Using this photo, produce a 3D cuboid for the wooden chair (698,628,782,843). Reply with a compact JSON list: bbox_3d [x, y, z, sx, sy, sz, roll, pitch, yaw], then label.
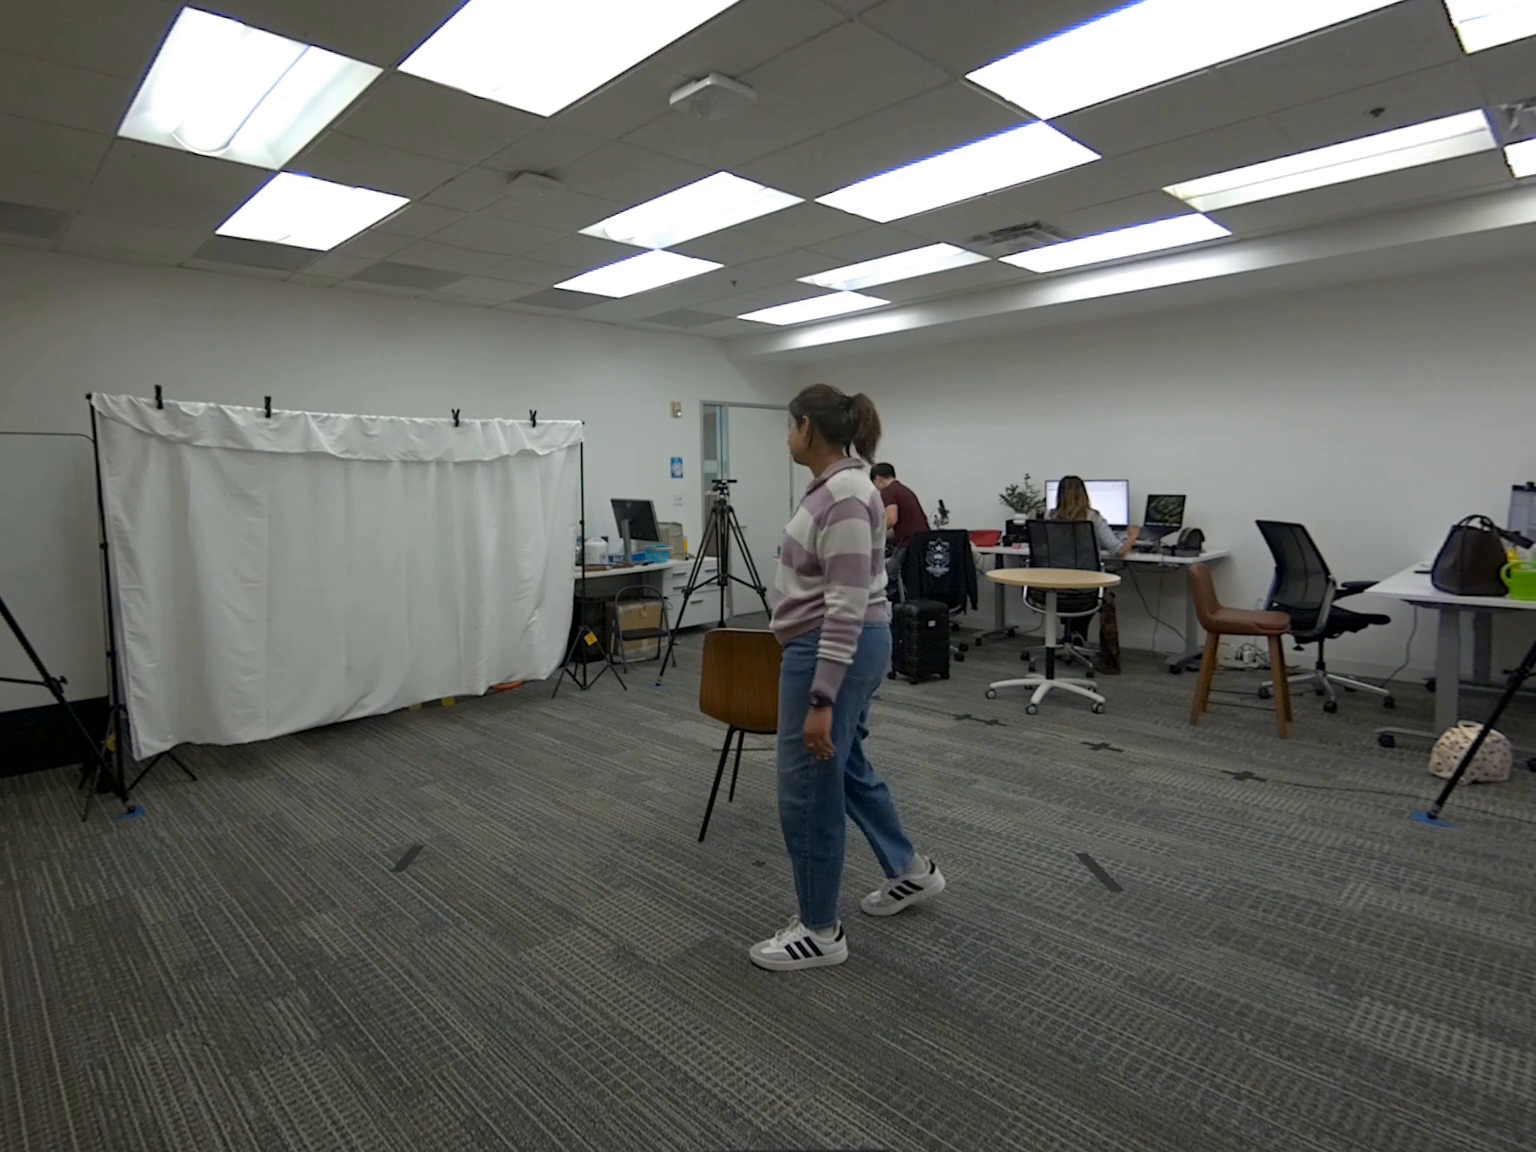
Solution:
[{"bbox_3d":[-0.003,0.585,3.429,0.486,0.871,0.518,0,8,16],"label":"wooden chair"}]
